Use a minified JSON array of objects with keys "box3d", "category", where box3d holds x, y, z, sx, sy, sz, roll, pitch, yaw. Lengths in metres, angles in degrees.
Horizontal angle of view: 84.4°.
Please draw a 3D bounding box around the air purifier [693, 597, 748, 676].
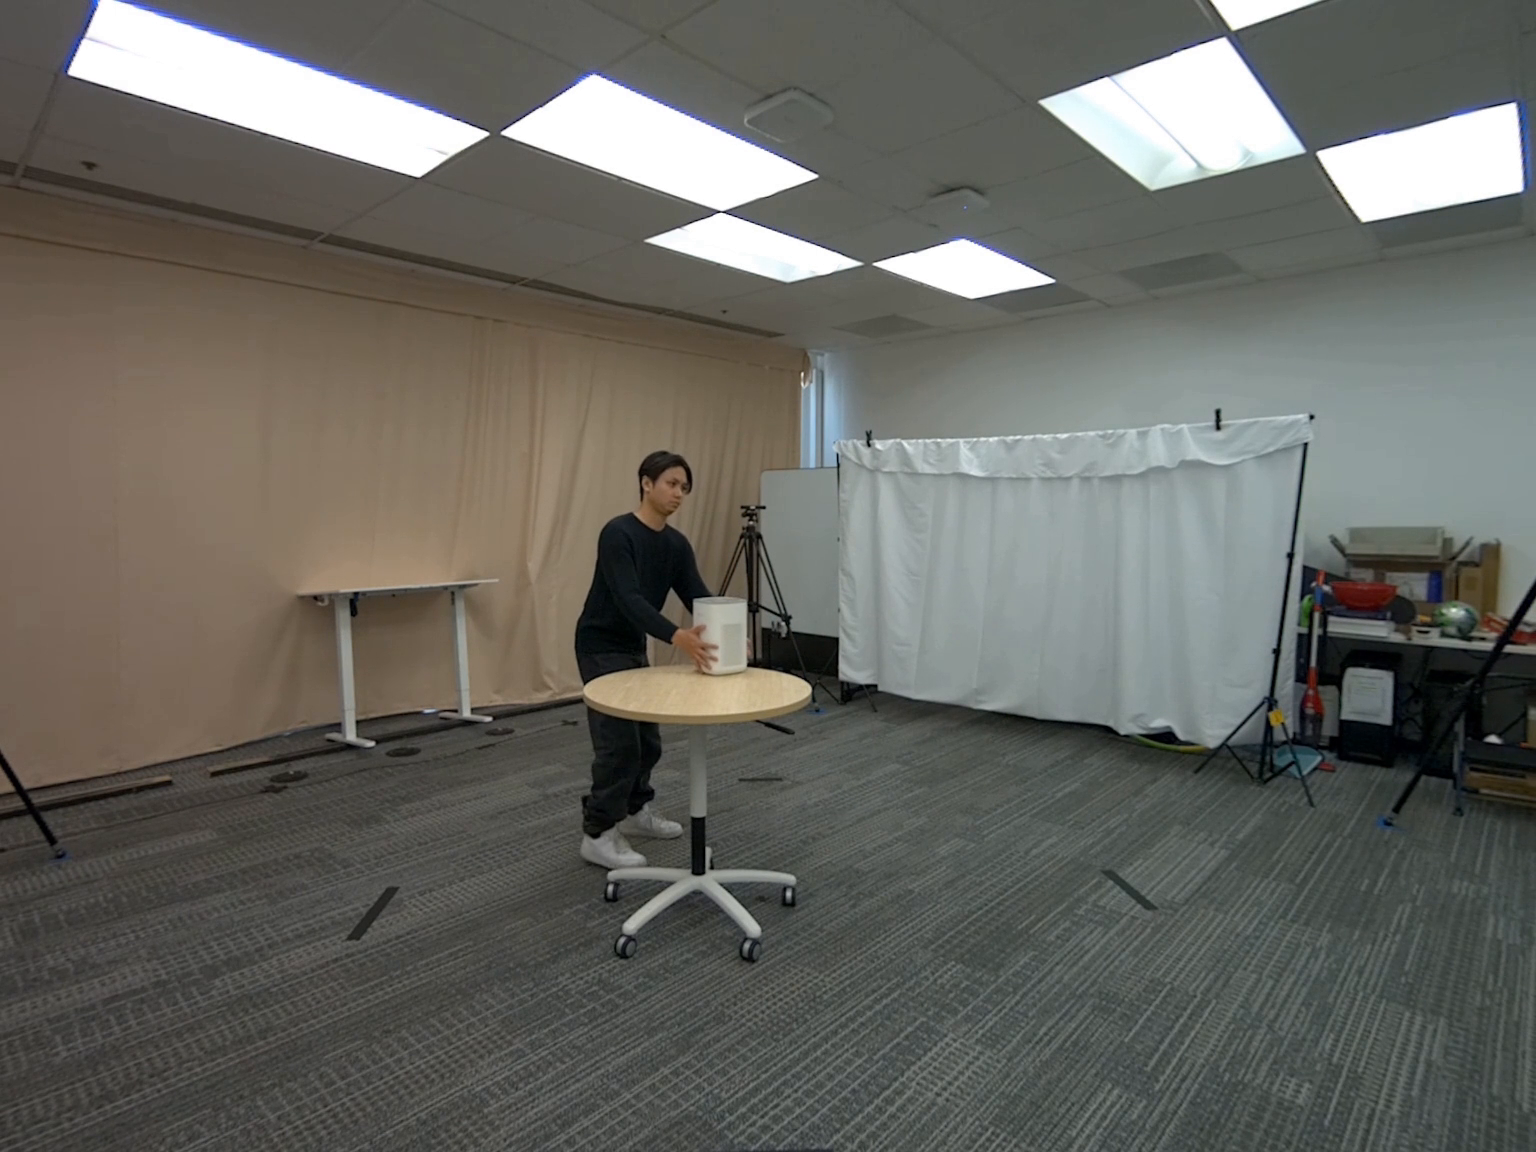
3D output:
[{"box3d":[-0.178,0.219,3.089,0.167,0.265,0.176,-1,2,-34],"category":"air purifier"}]
